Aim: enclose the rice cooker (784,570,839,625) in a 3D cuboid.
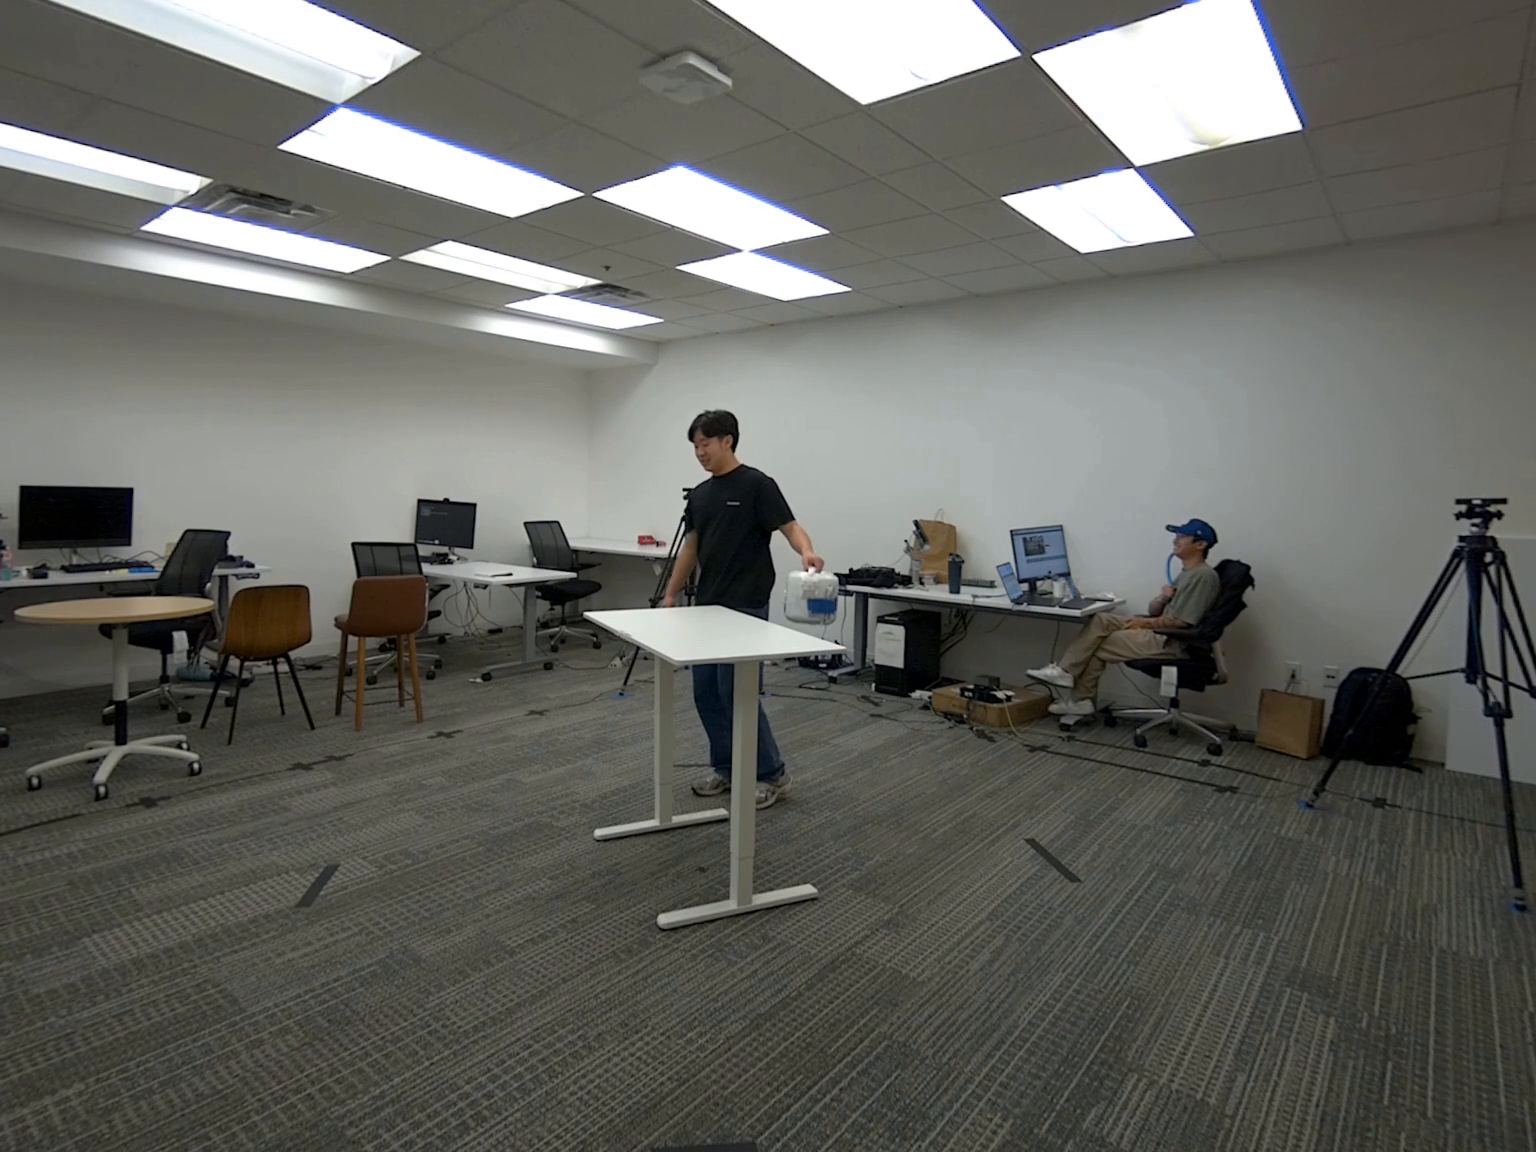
[{"bbox_3d":[0.163,0.070,3.481,0.221,0.232,0.218,5,2,12],"label":"rice cooker"}]
